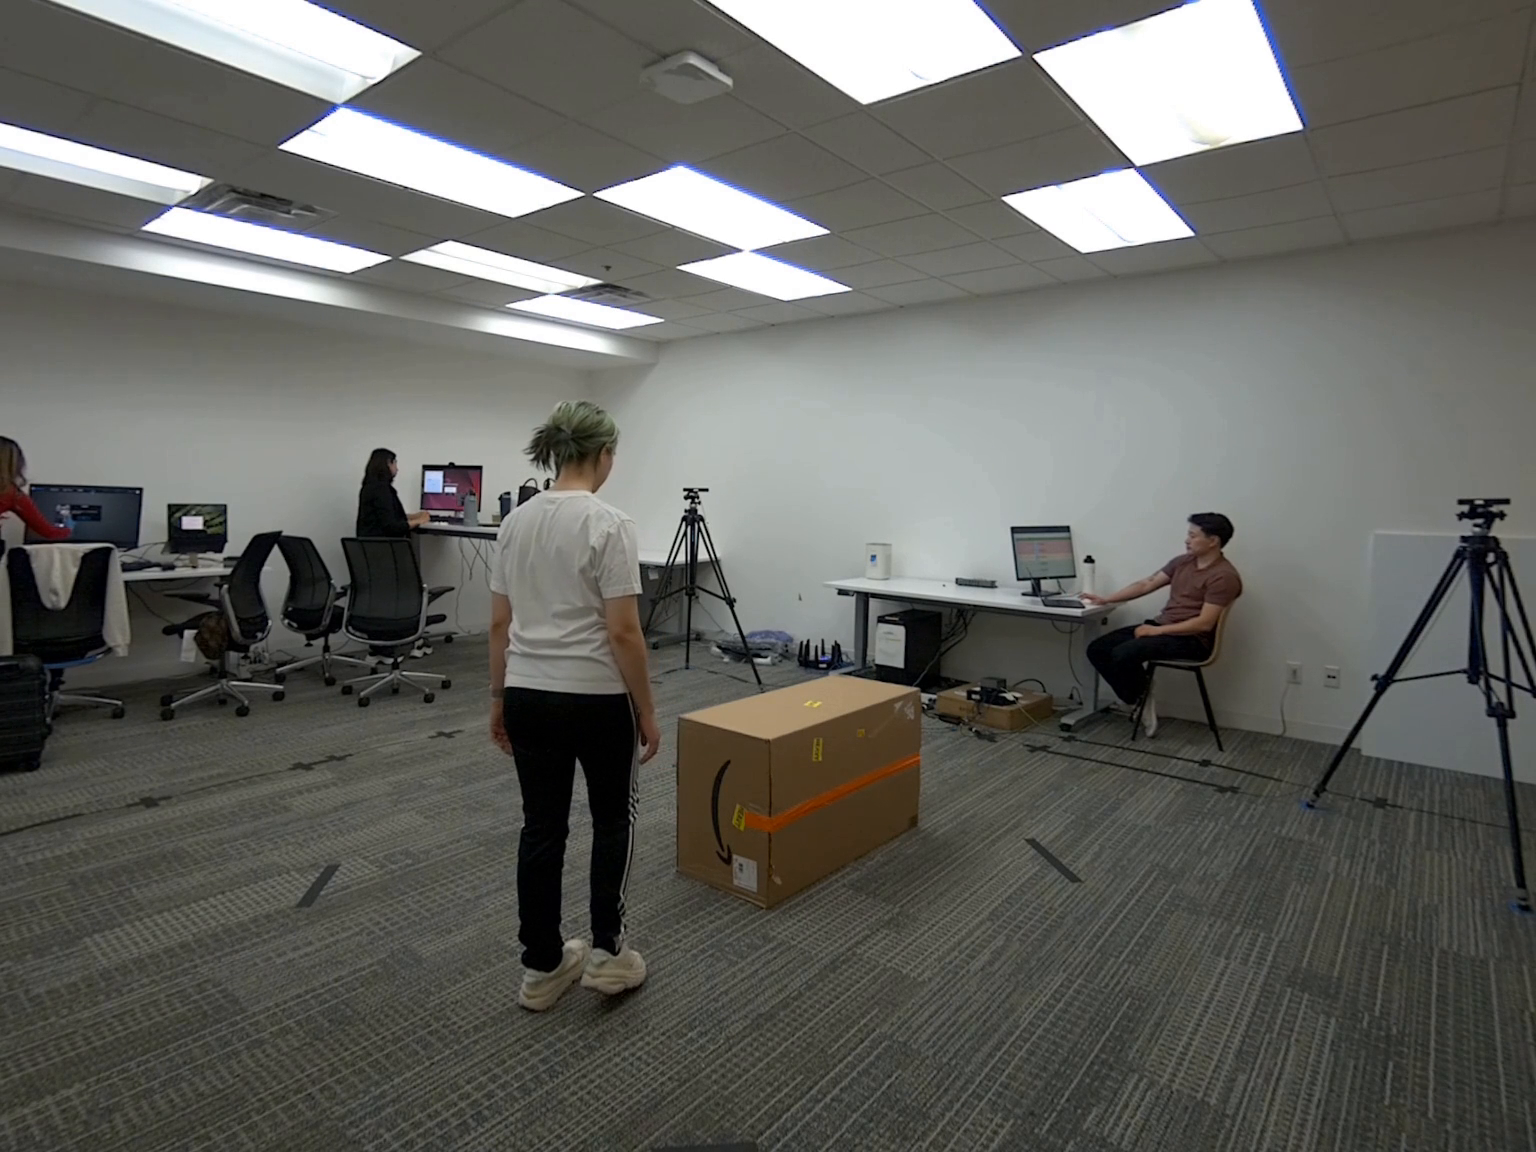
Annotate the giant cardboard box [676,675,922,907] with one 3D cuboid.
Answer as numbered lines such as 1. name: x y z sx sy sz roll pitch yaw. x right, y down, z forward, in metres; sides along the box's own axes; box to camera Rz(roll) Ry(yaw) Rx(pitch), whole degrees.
1. giant cardboard box: 0.144 0.770 3.311 0.462 0.581 0.997 5 7 39
